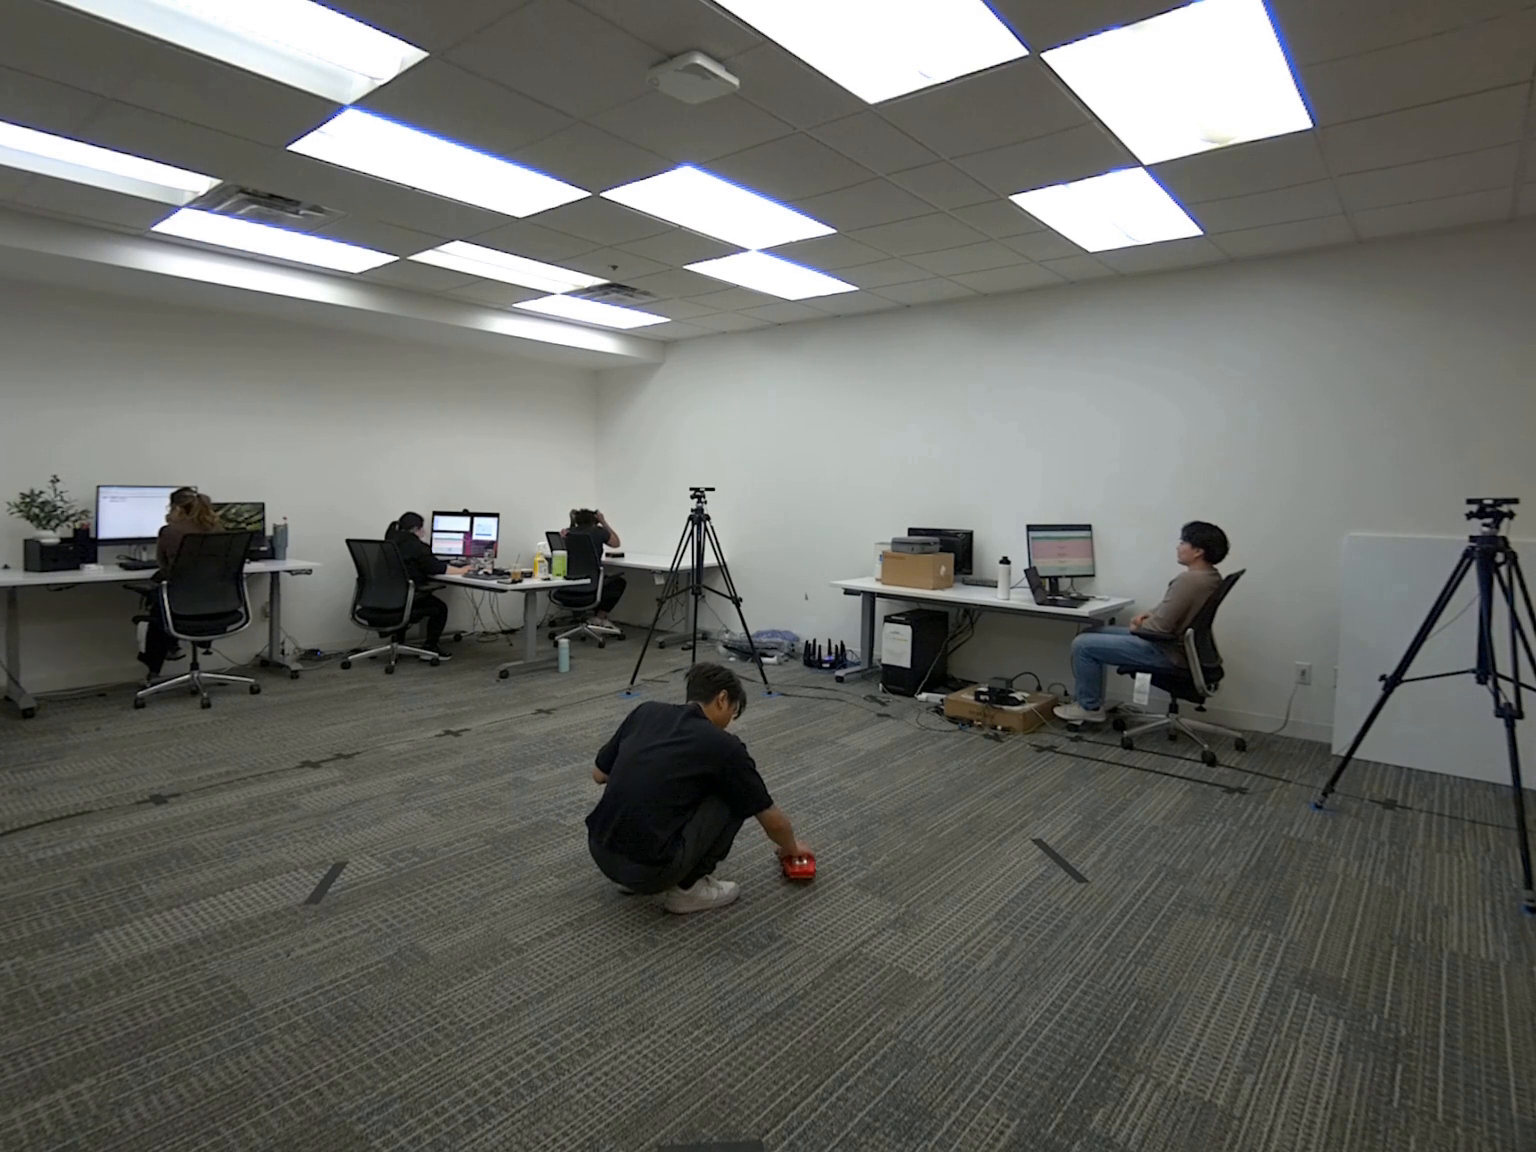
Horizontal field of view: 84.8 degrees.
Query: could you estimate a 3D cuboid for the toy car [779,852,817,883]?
[{"bbox_3d":[0.099,1.037,3.072,0.129,0.083,0.255,2,-2,-8],"label":"toy car"}]
